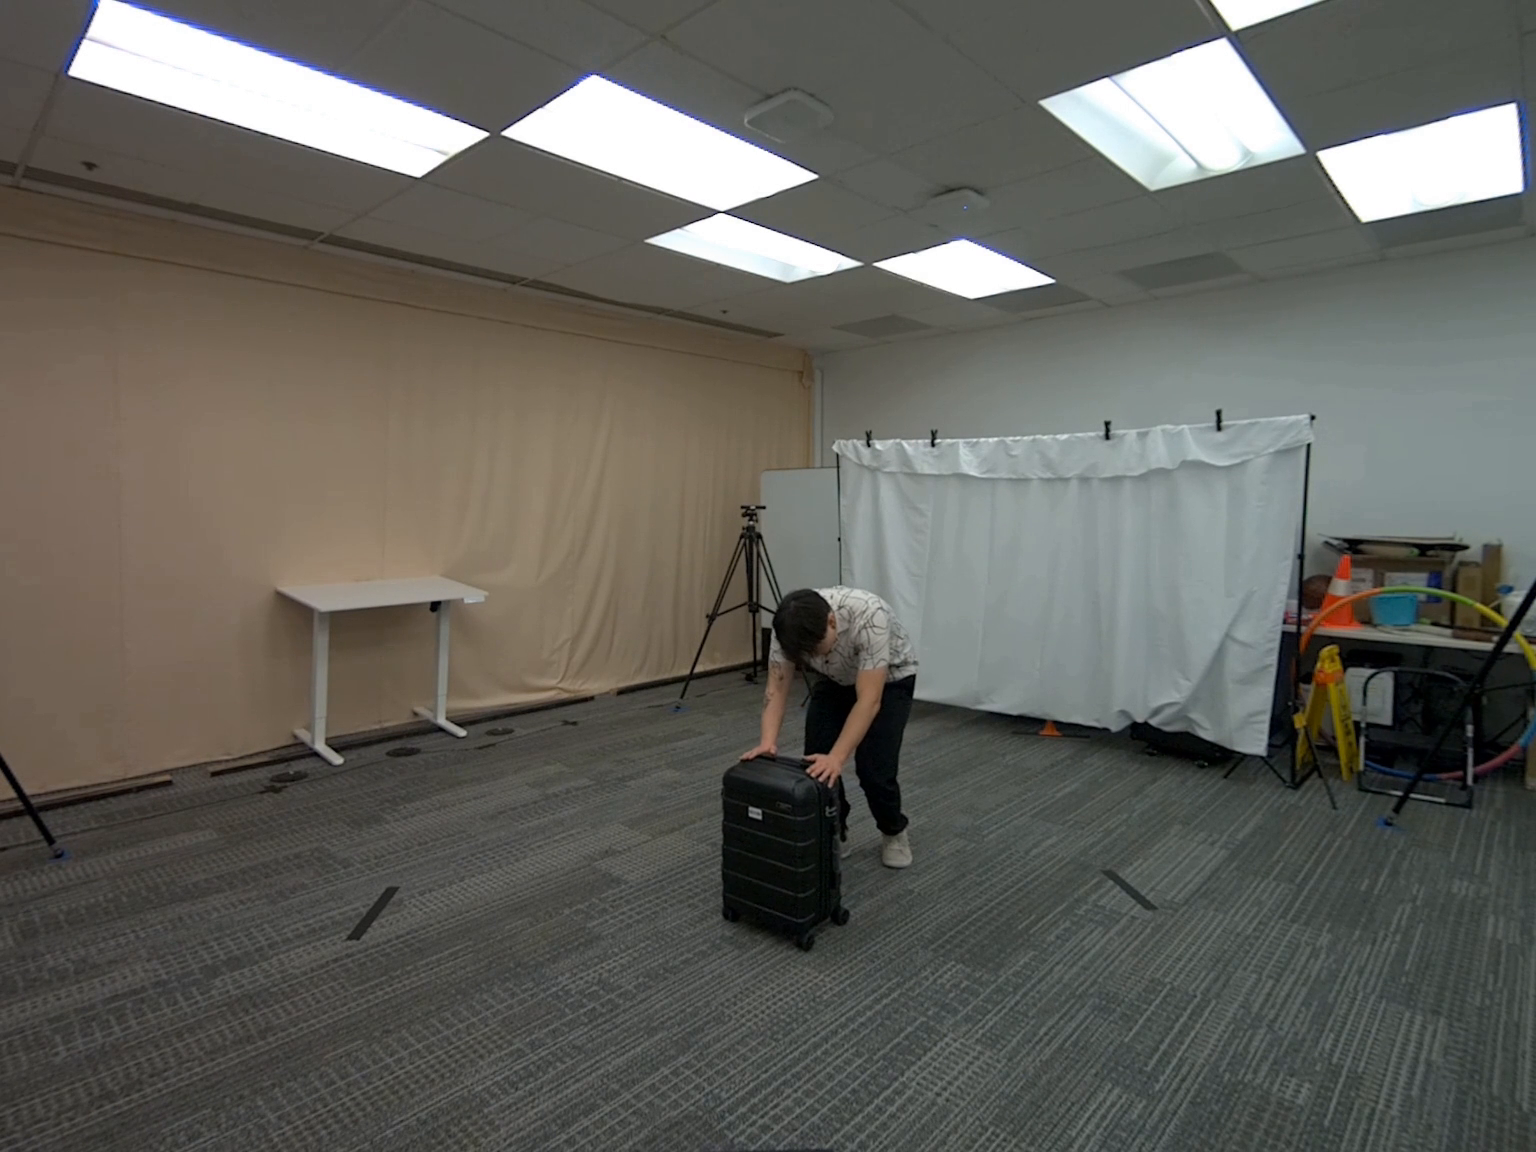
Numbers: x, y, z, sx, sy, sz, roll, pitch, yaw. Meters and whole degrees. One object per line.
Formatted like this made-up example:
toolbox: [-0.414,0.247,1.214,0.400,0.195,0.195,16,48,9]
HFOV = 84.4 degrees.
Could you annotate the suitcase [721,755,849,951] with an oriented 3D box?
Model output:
suitcase: [0.048,0.886,2.788,0.387,0.548,0.241,2,5,38]
